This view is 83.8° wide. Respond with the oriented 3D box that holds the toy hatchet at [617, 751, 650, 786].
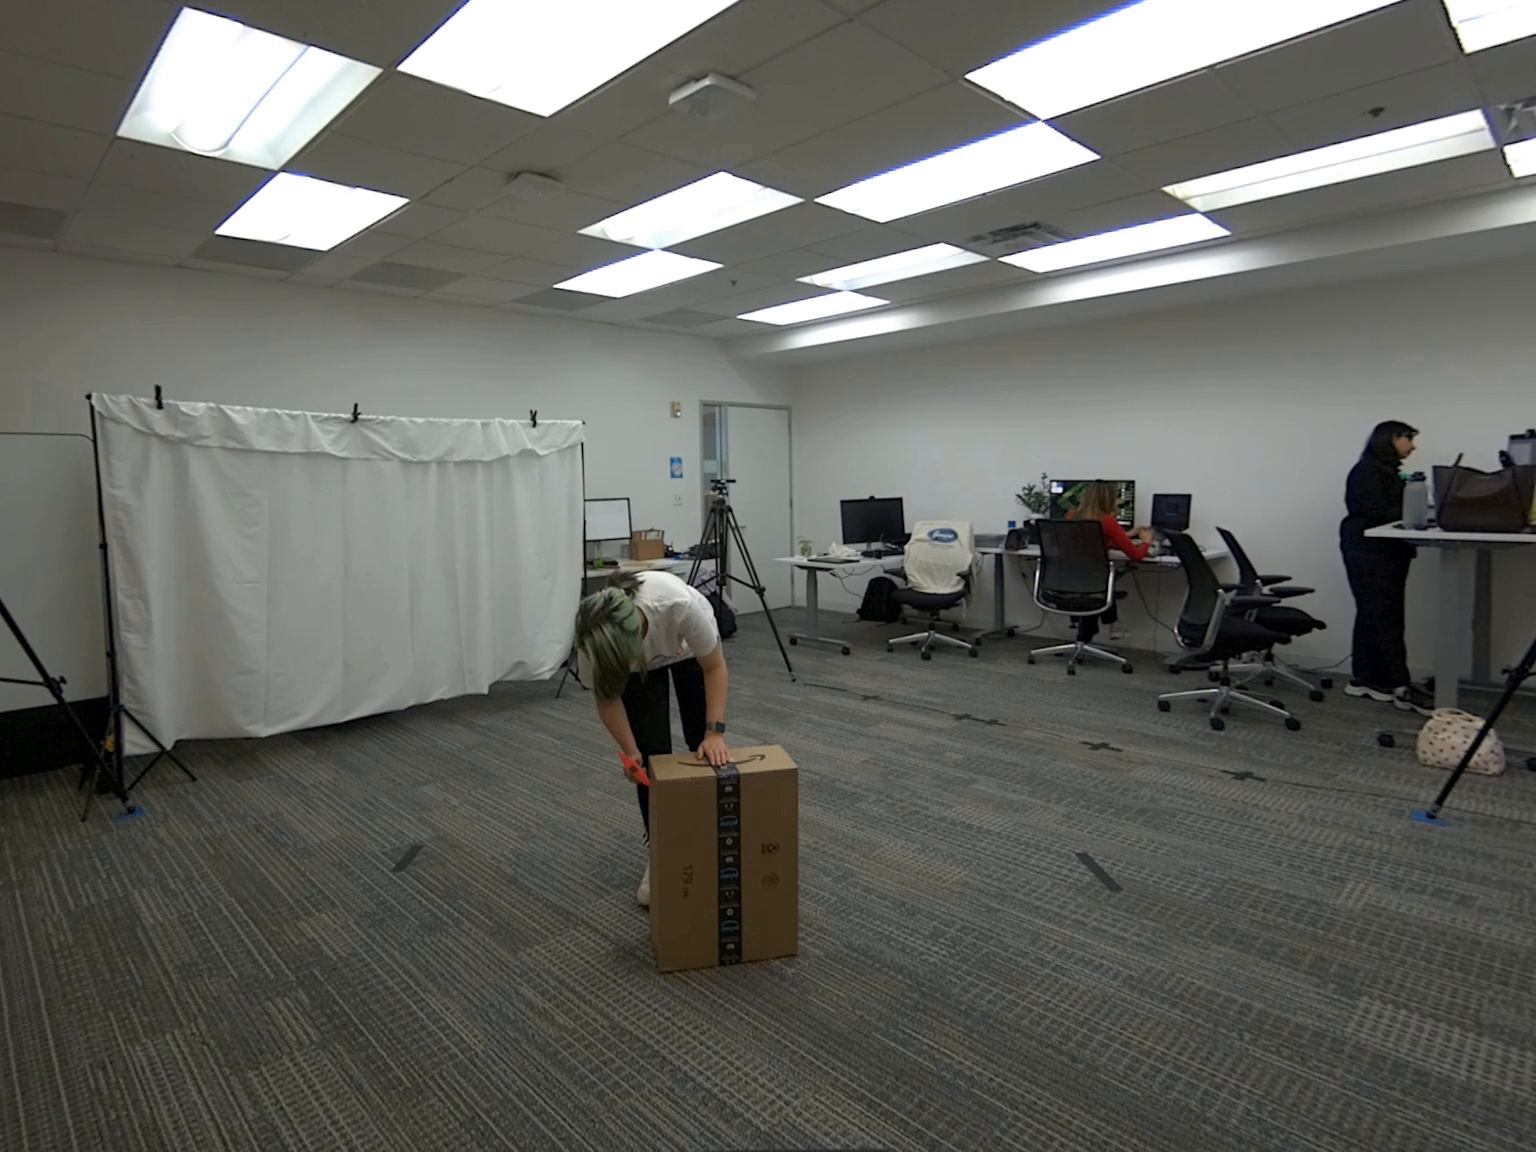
[{"bbox_3d":[-0.368,0.604,2.529,0.135,0.029,0.262,41,-11,24],"label":"toy hatchet"}]
